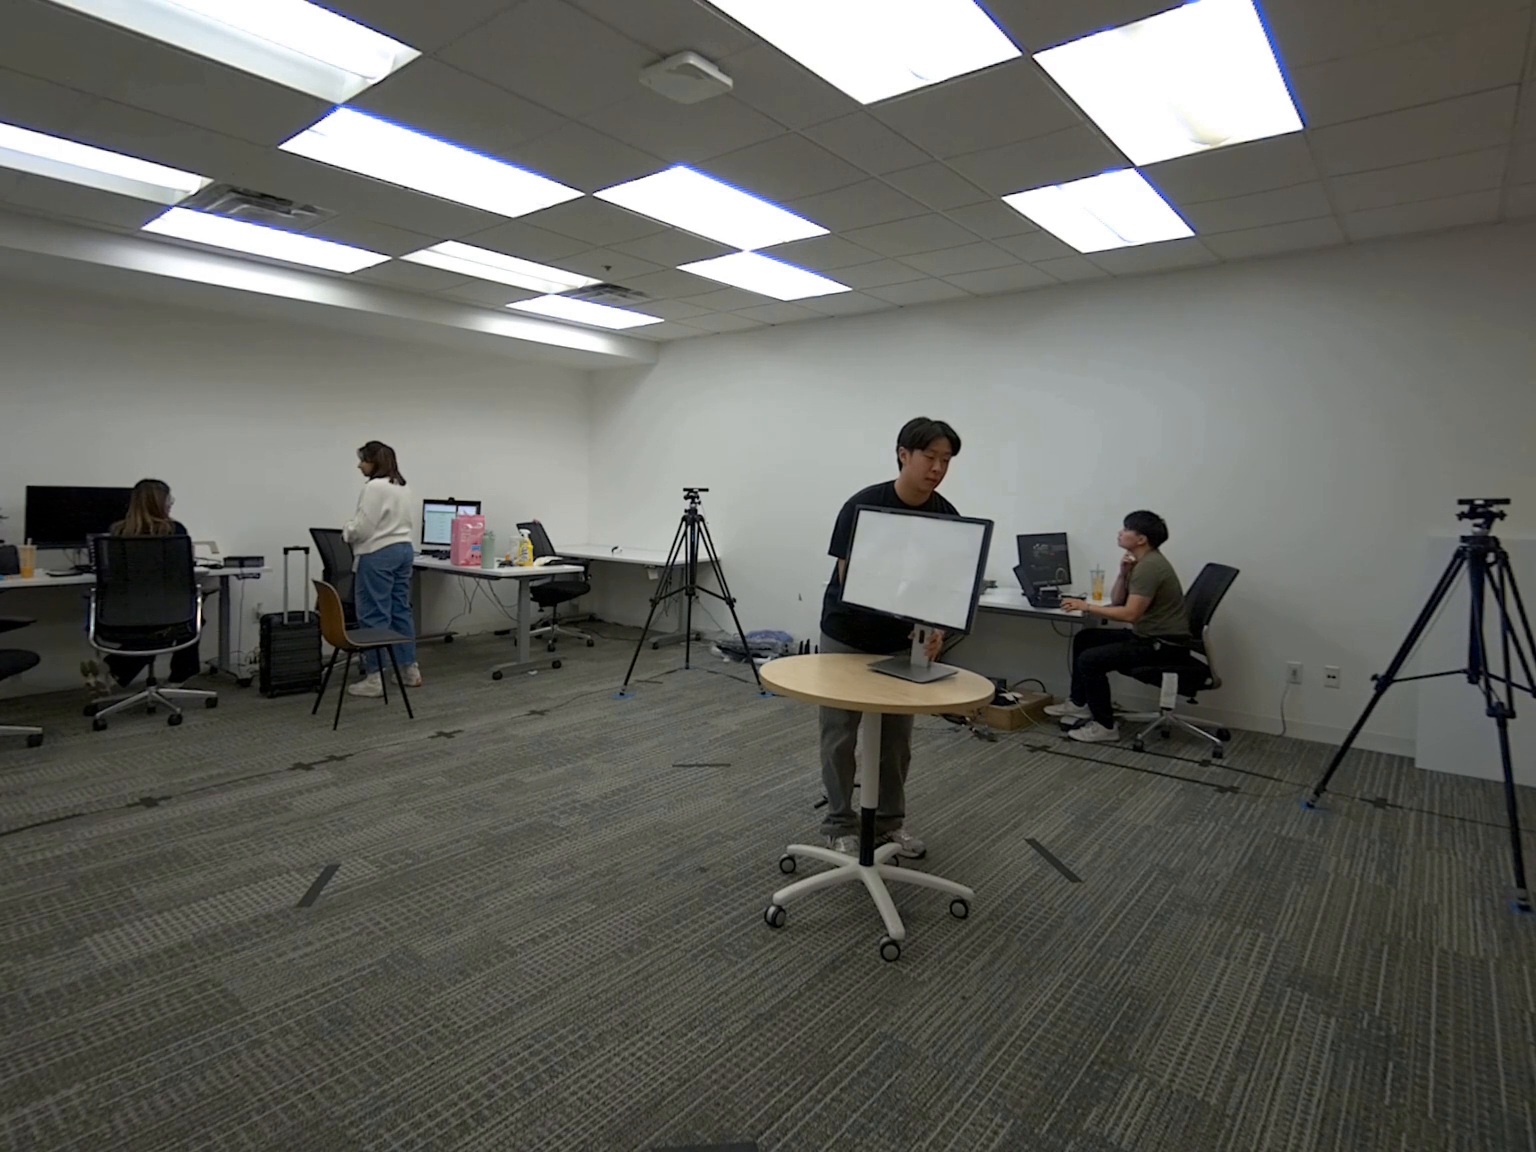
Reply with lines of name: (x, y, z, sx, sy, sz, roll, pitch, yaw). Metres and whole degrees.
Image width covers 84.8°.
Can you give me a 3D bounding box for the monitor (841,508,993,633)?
monitor: (0.489, 0.060, 2.854, 0.216, 0.561, 0.582, -6, 11, -37)
